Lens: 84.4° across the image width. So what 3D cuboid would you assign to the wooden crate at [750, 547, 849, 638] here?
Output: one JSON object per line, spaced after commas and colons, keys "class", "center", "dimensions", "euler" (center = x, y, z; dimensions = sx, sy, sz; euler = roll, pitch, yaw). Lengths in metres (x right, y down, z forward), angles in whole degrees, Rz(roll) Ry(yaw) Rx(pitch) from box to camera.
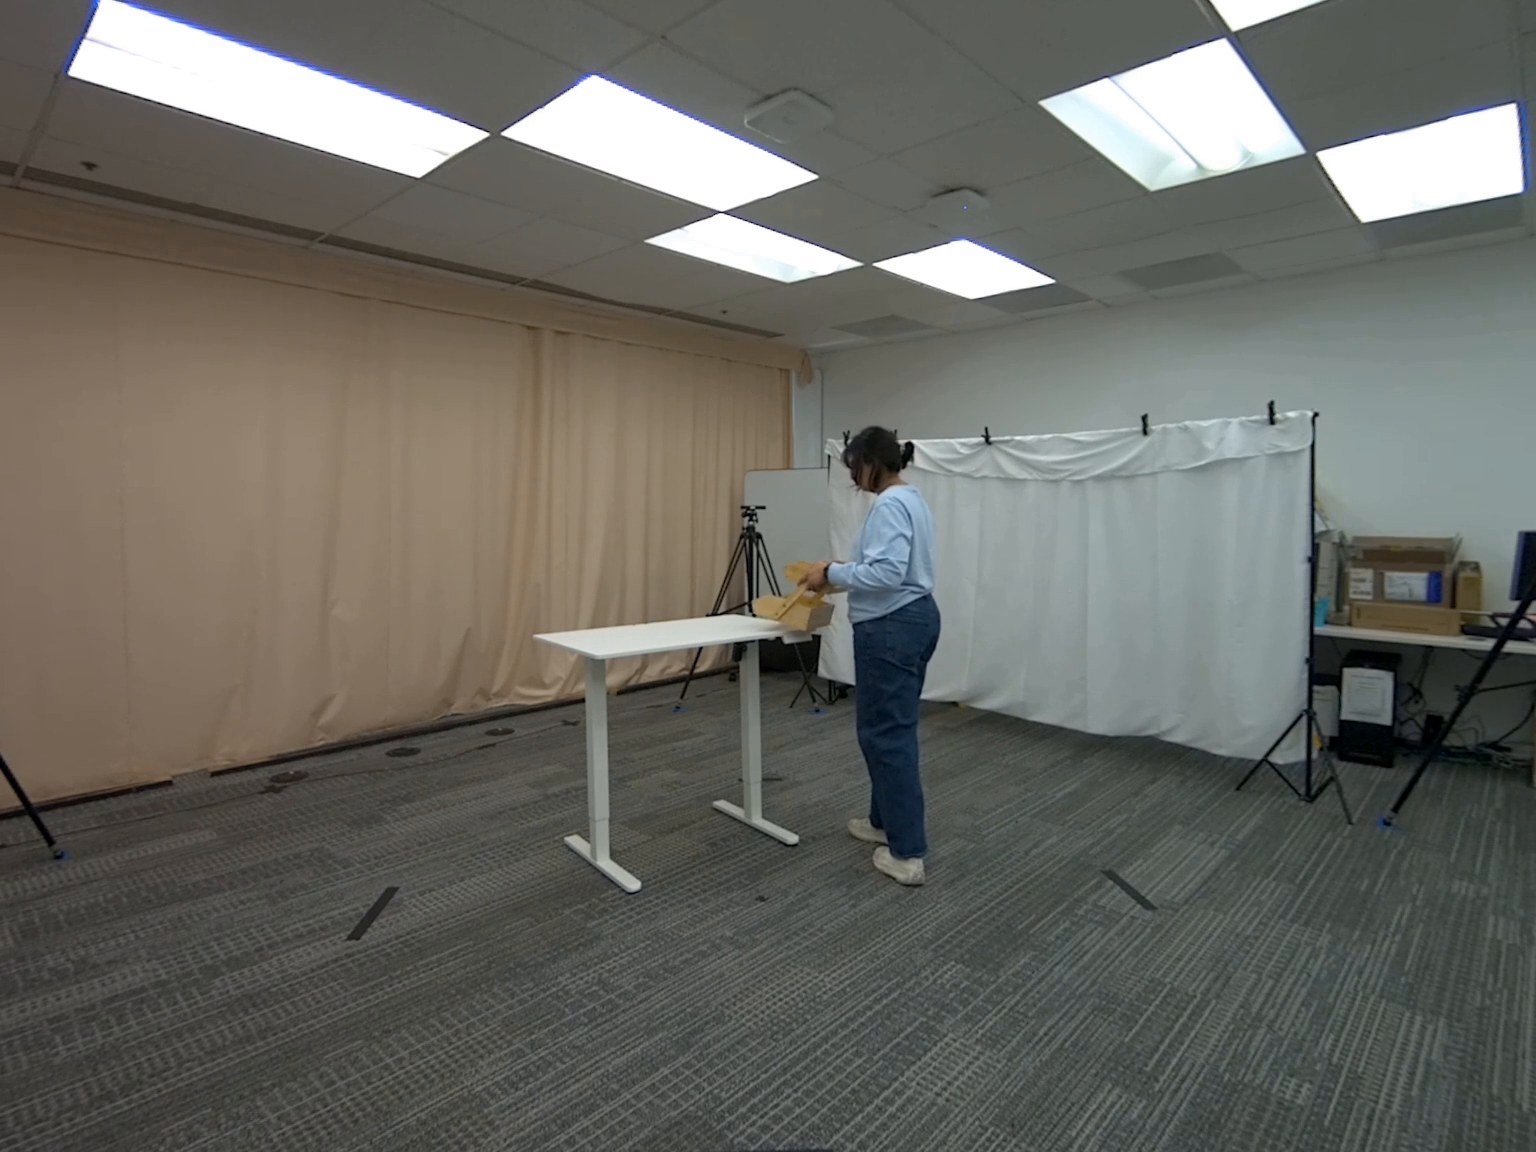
{"class": "wooden crate", "center": [0.158, 0.056, 3.459], "dimensions": [0.310, 0.272, 0.316], "euler": [18, 8, 23]}
